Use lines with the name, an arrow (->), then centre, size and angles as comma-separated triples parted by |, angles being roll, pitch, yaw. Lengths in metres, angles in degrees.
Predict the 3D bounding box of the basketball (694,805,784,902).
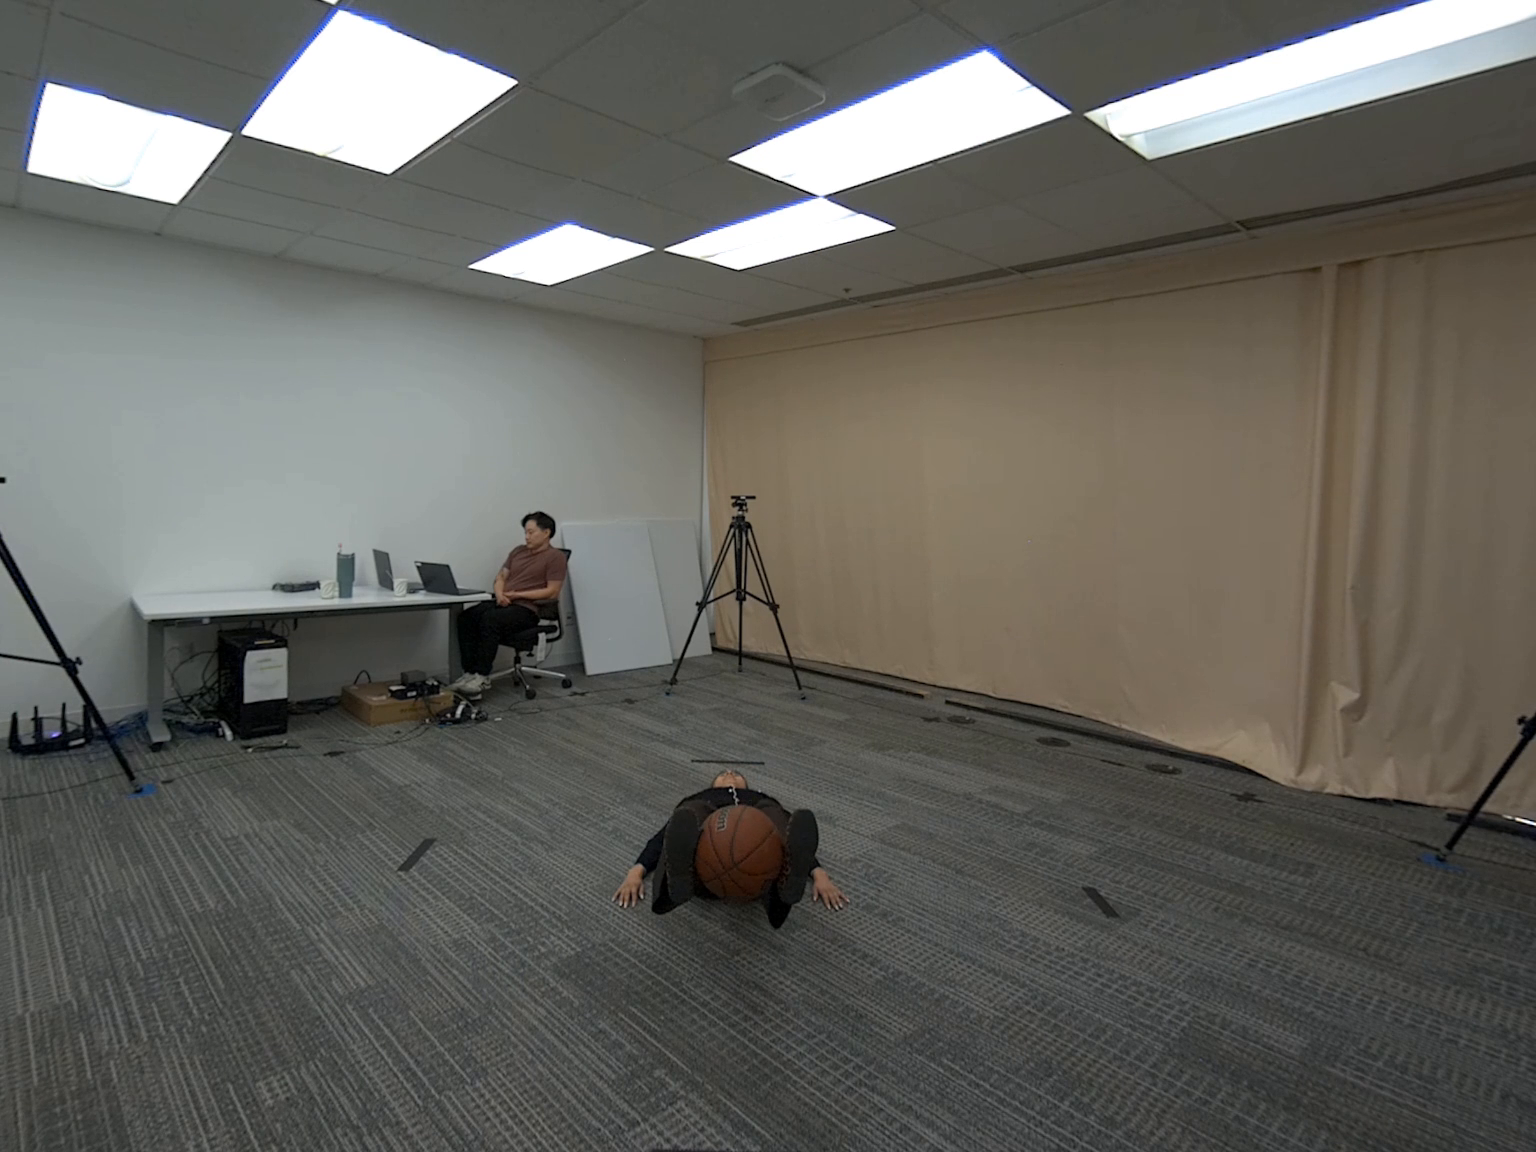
basketball -> -0.085, 0.722, 2.196 | 0.235, 0.235, 0.237 | 4, 5, -2
